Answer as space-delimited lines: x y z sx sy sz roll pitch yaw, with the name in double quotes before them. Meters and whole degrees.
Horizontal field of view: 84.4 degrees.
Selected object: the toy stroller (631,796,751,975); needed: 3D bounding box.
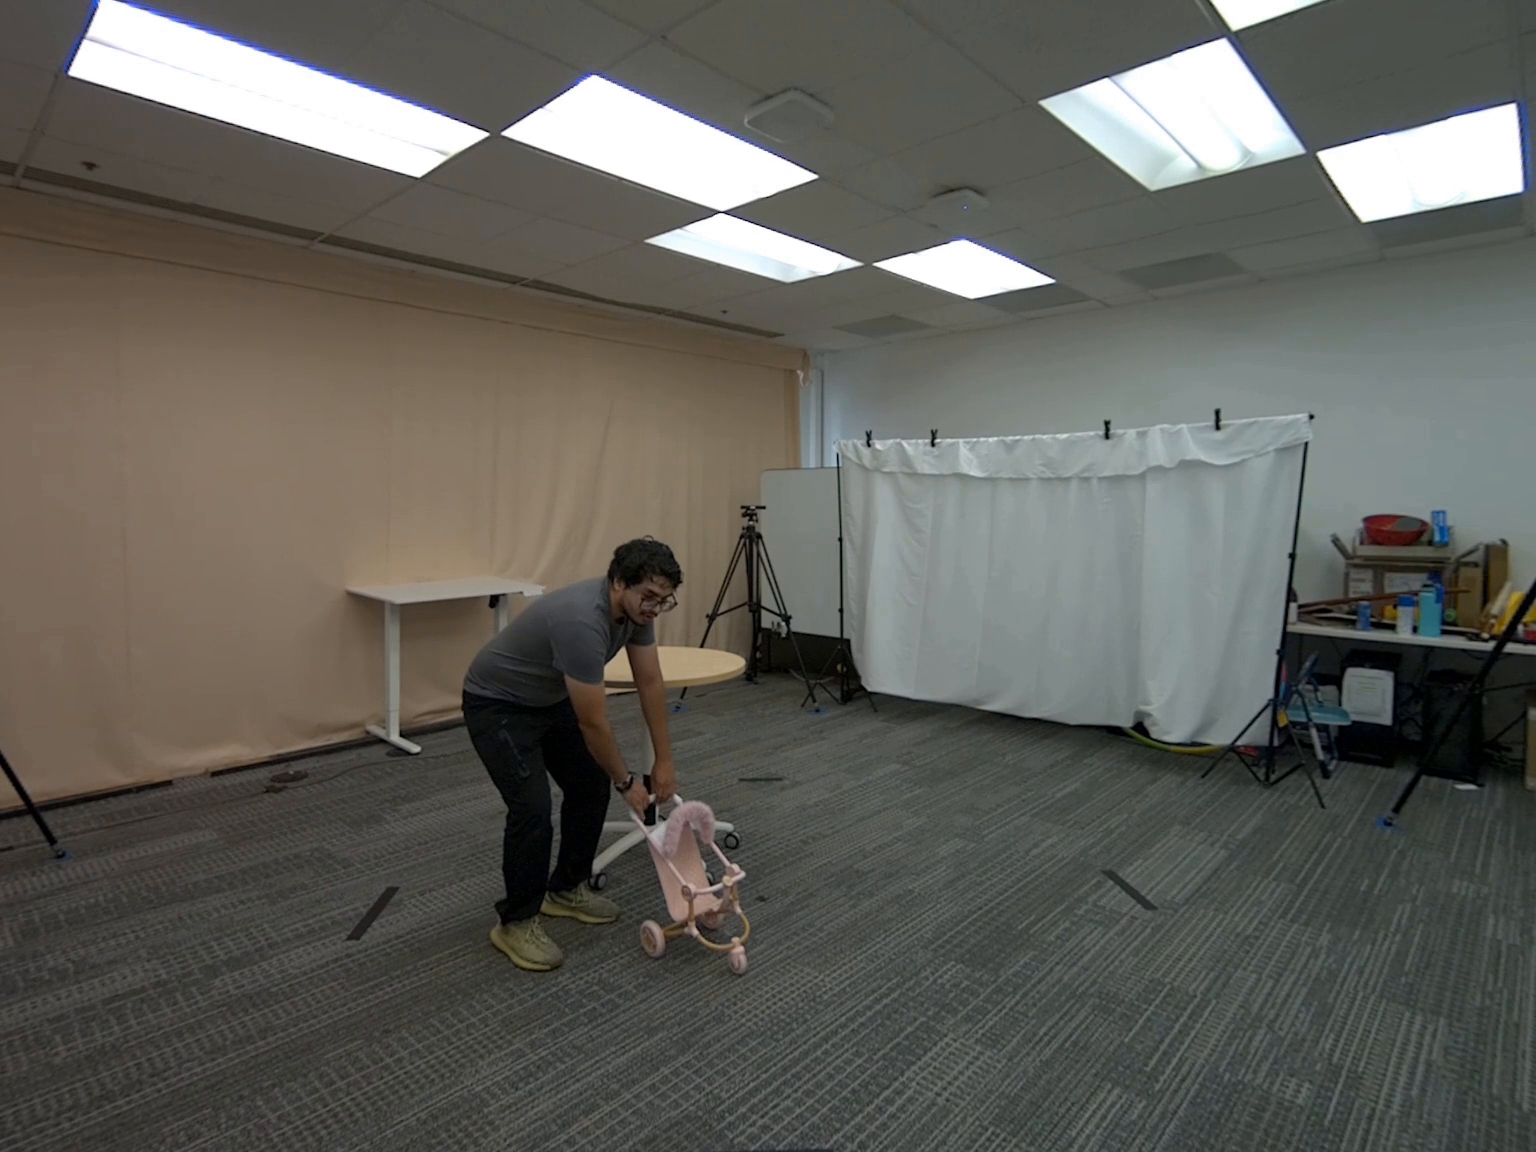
"toy stroller" -0.224 0.953 2.630 0.273 0.539 0.349 -3 -11 -42
